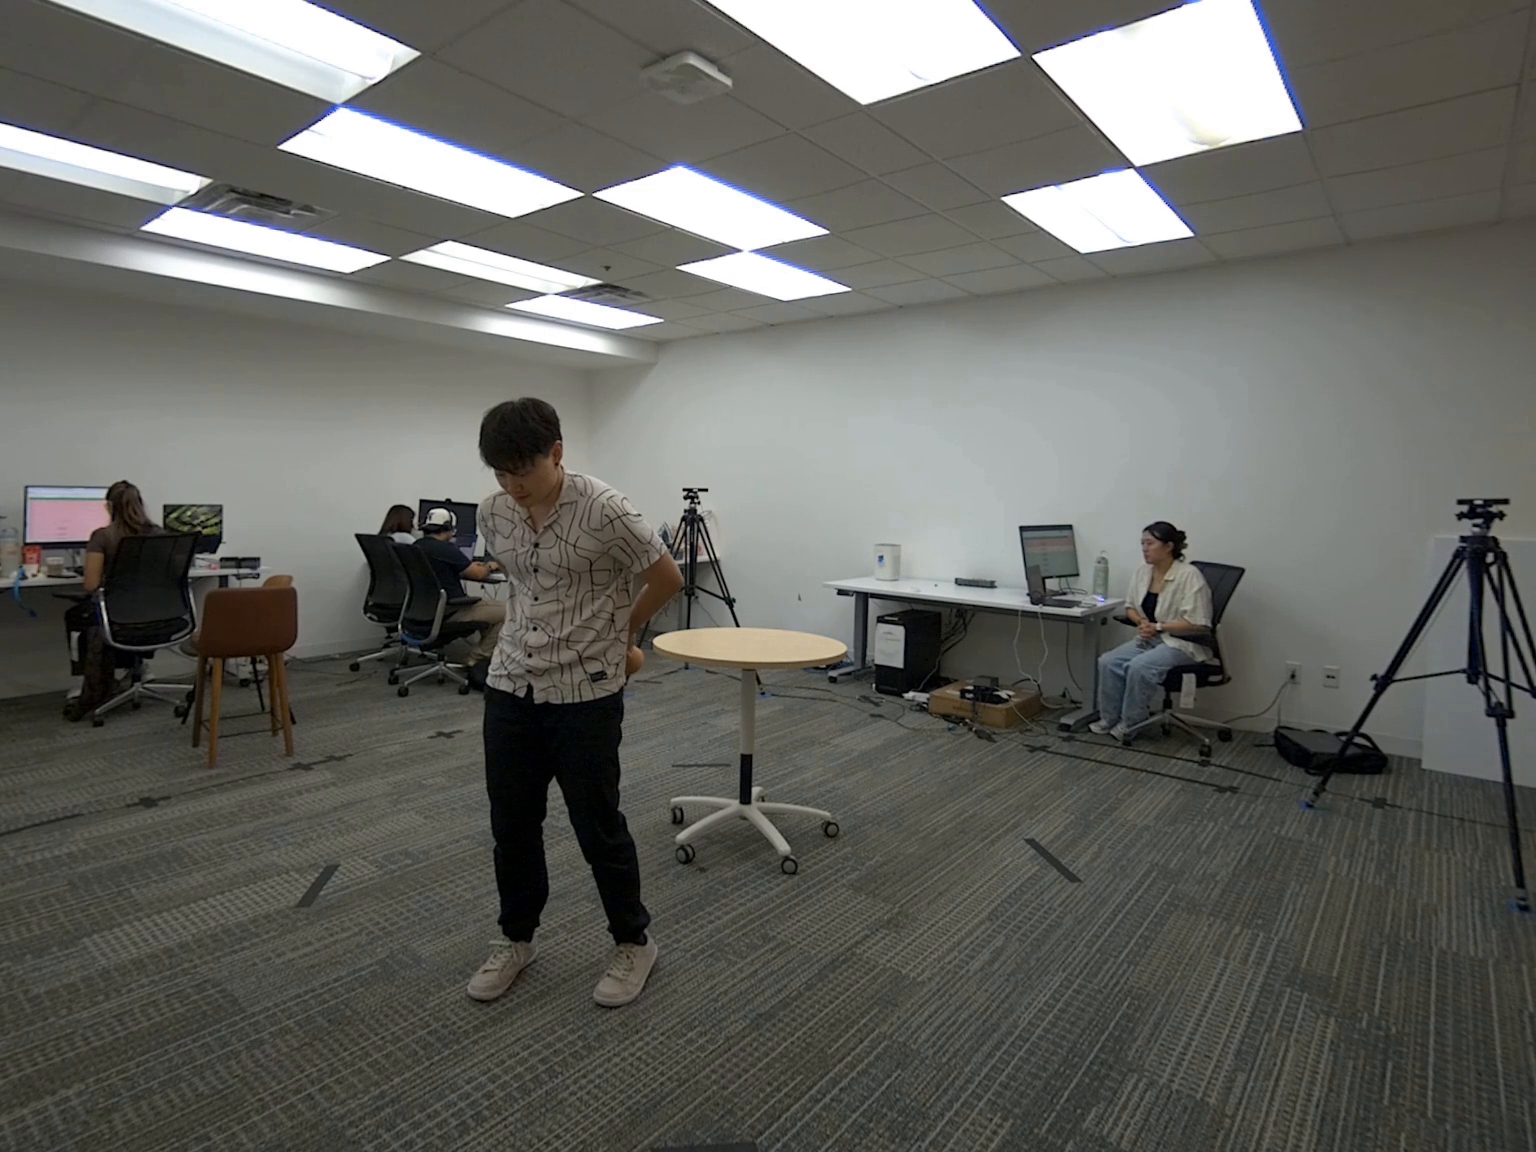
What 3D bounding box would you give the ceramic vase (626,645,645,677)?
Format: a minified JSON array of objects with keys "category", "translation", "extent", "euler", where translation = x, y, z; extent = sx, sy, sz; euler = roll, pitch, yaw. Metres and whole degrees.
[{"category":"ceramic vase","translation":[-0.478,0.217,2.641],"extent":[0.140,0.158,0.211],"euler":[51,-6,38]}]
